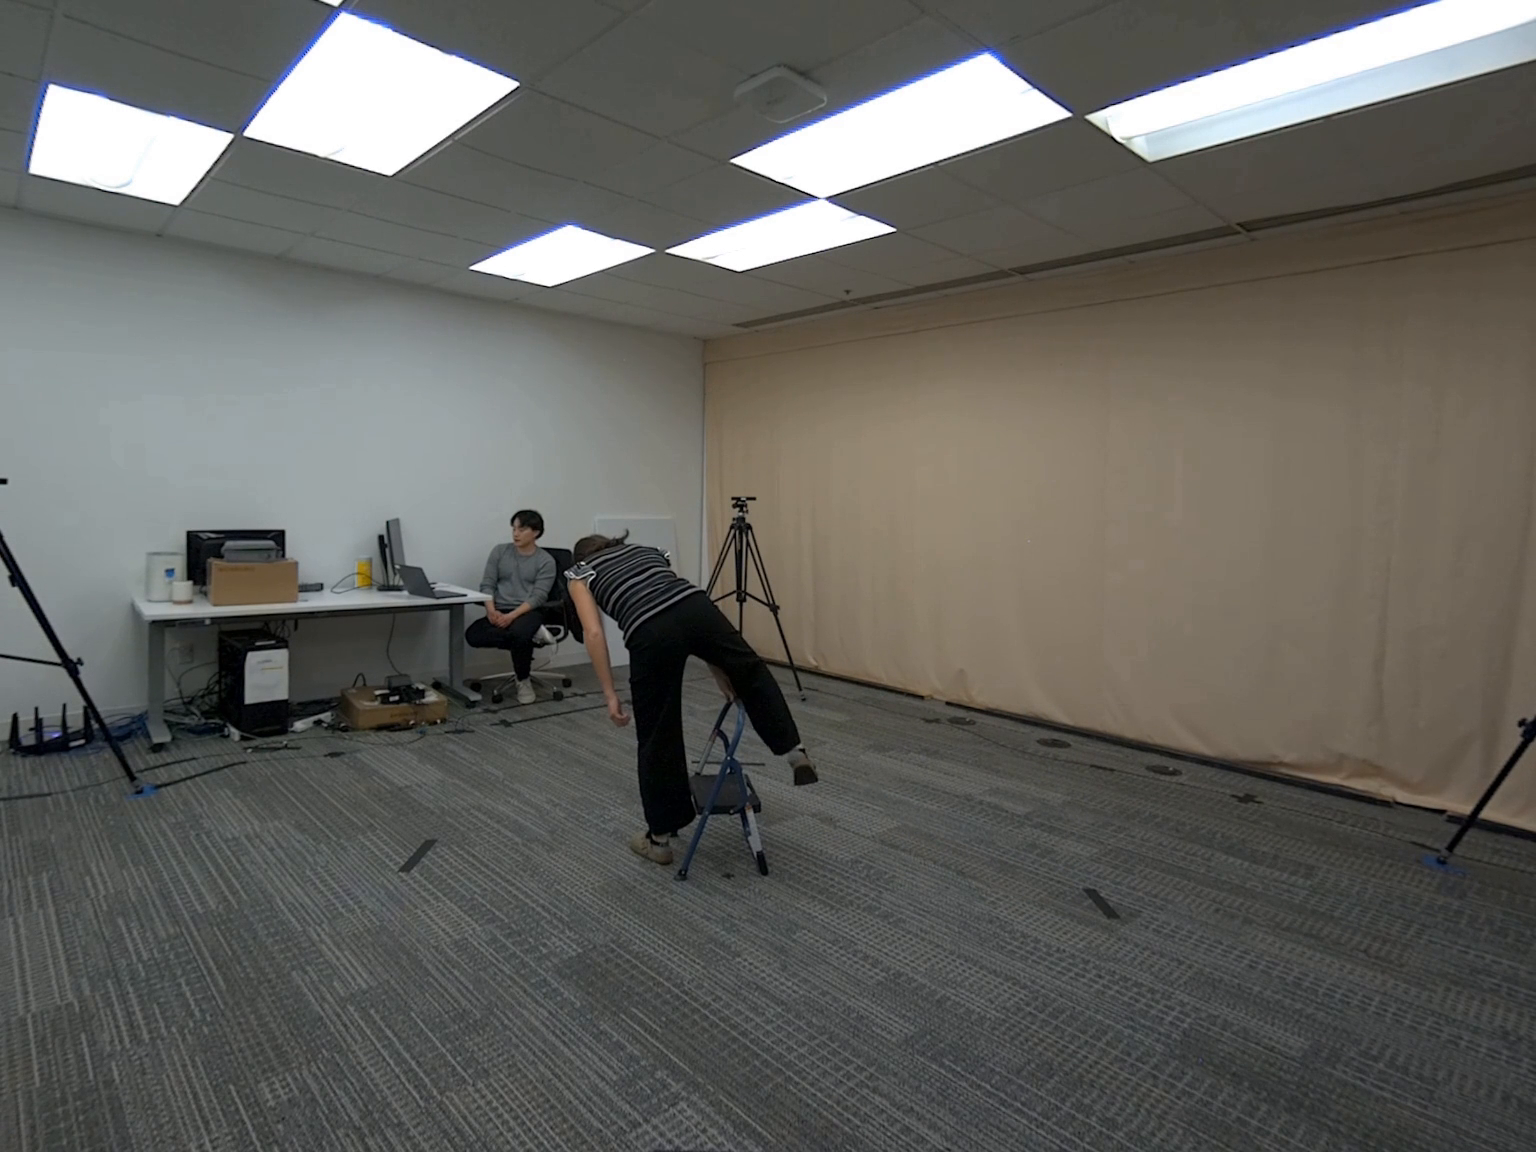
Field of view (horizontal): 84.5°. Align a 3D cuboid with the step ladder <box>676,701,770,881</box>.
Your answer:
[{"bbox_3d":[-0.203,0.792,3.274,0.346,0.604,0.435,1,4,-10],"label":"step ladder"}]
